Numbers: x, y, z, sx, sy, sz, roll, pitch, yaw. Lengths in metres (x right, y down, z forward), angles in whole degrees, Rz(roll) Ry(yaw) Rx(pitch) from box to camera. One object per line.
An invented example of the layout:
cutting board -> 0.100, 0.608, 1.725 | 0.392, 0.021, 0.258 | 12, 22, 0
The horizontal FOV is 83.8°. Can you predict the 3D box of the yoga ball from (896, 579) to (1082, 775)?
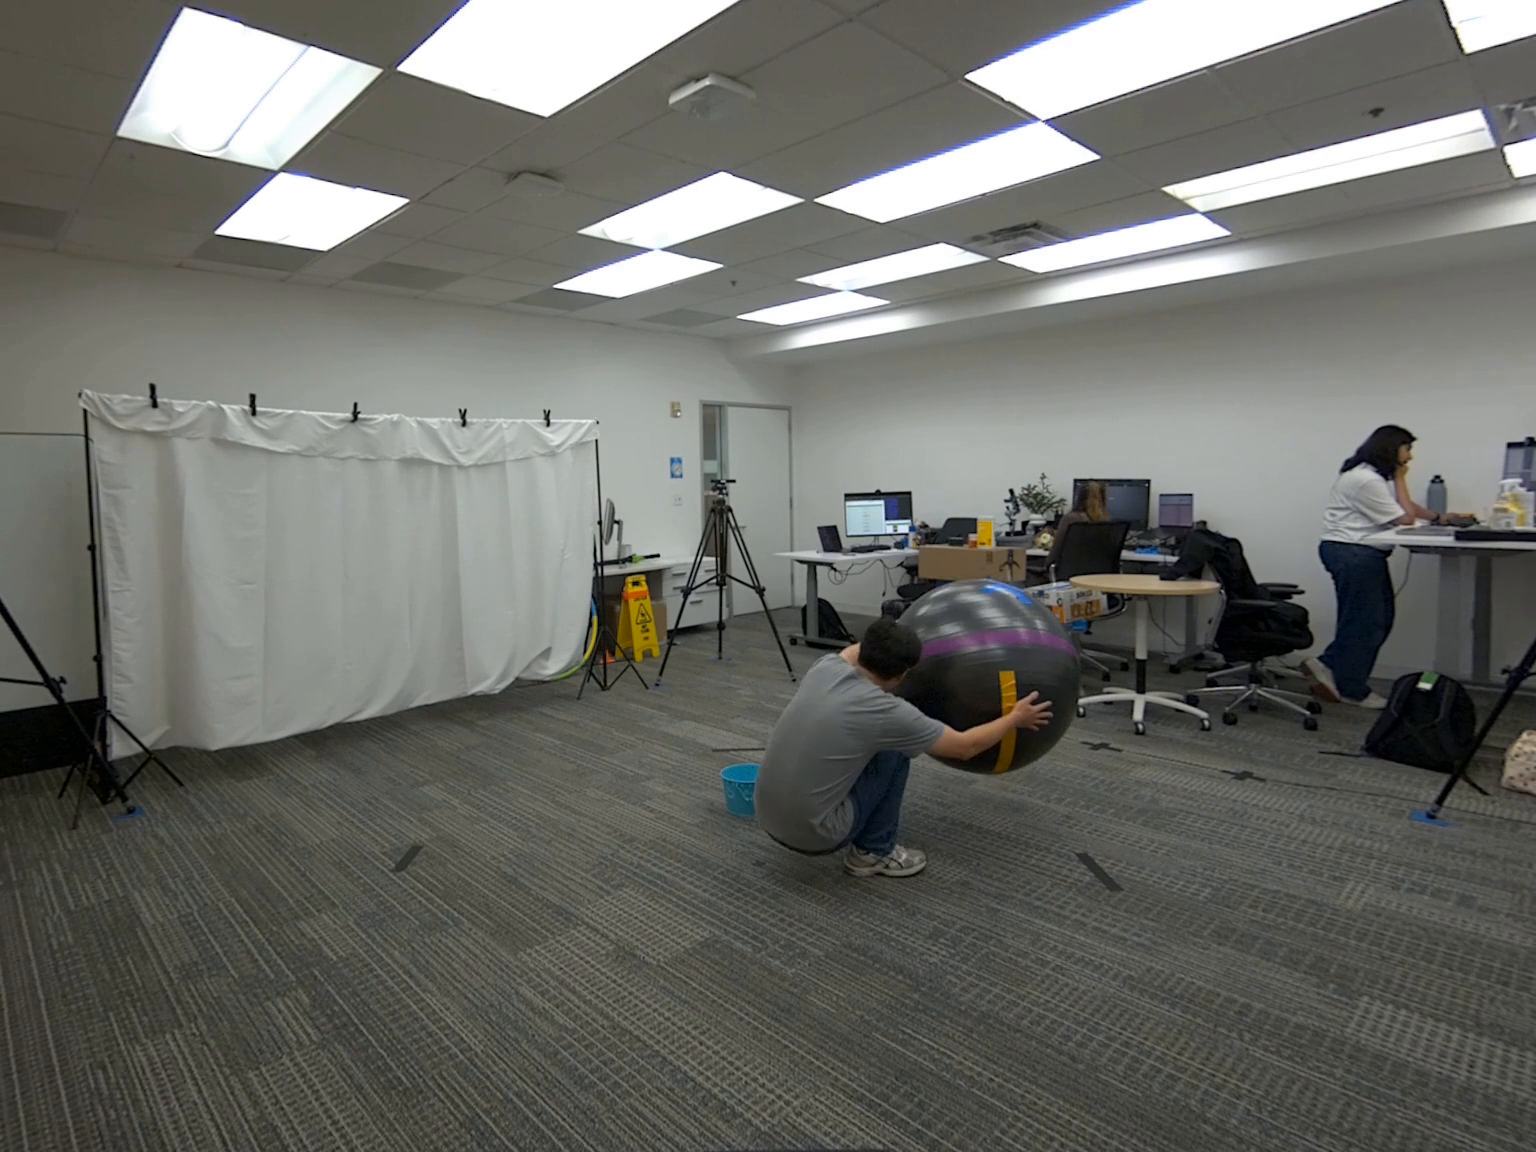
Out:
yoga ball -> 0.839, 0.402, 3.414 | 0.757, 0.755, 0.762 | -1, 5, -2
